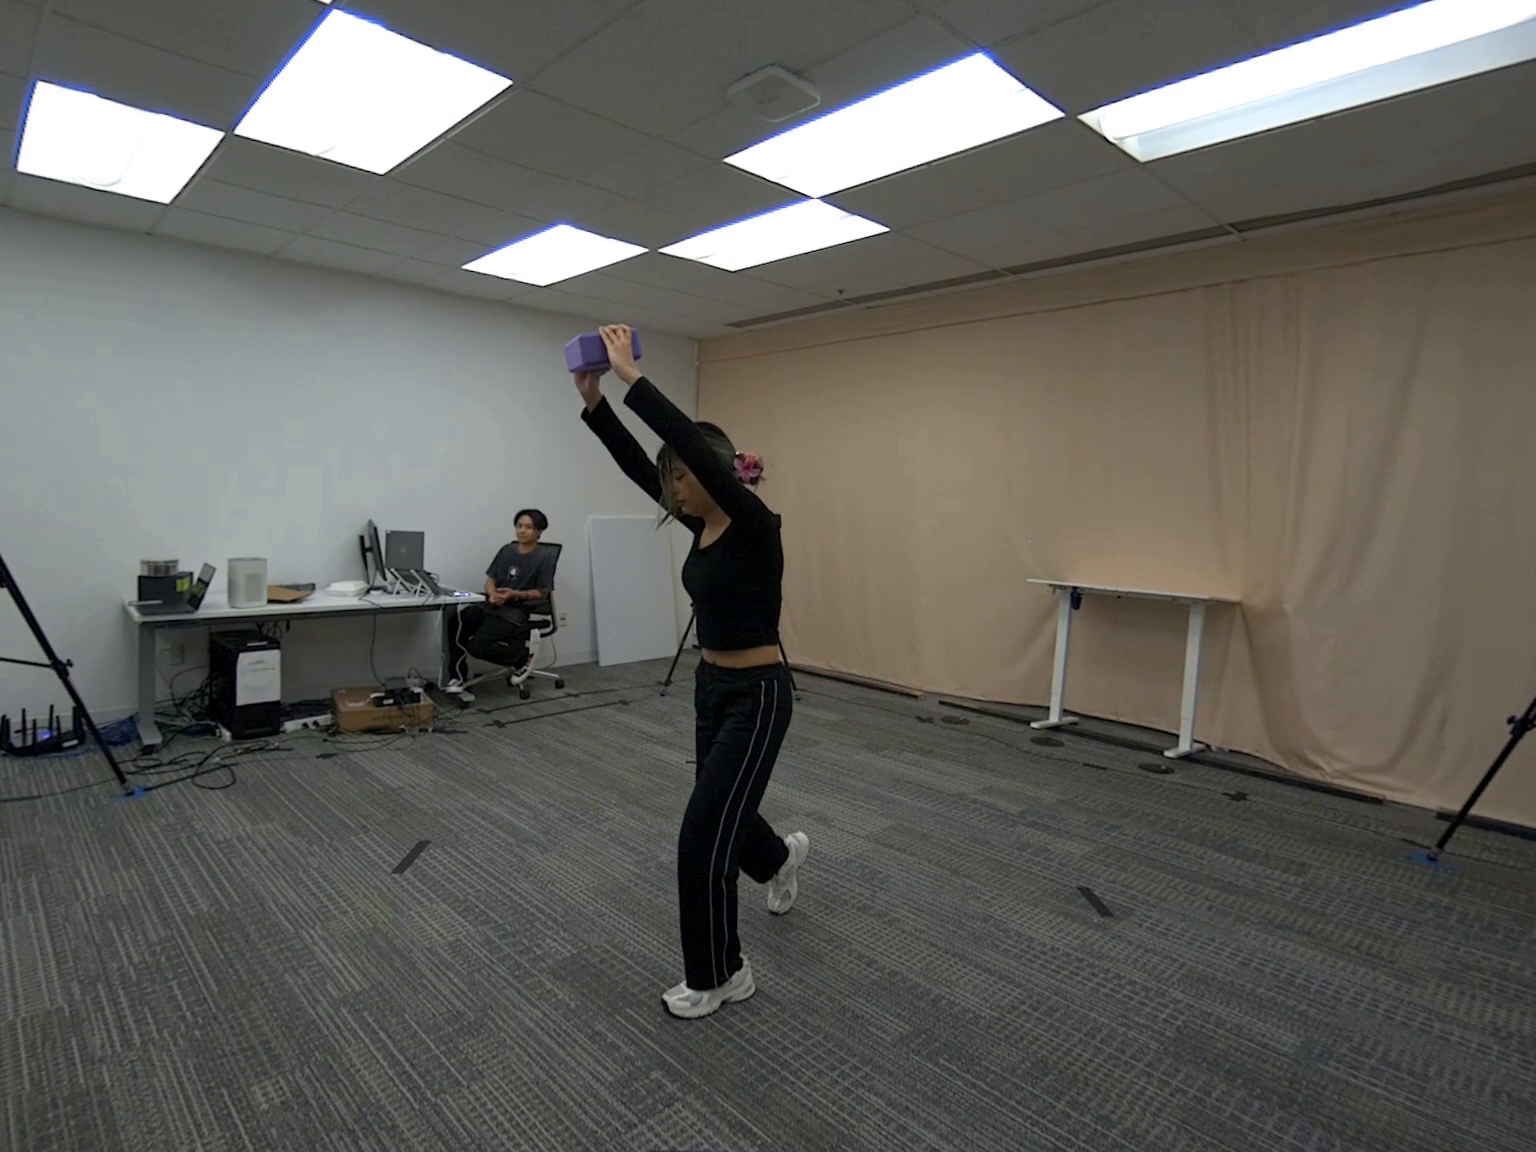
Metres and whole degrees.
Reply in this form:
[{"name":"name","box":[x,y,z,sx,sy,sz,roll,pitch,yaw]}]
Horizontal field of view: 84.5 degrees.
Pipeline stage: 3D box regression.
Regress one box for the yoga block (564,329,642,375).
[{"name":"yoga block","box":[-0.418,-0.557,2.093,0.147,0.076,0.234,-12,12,-18]}]
